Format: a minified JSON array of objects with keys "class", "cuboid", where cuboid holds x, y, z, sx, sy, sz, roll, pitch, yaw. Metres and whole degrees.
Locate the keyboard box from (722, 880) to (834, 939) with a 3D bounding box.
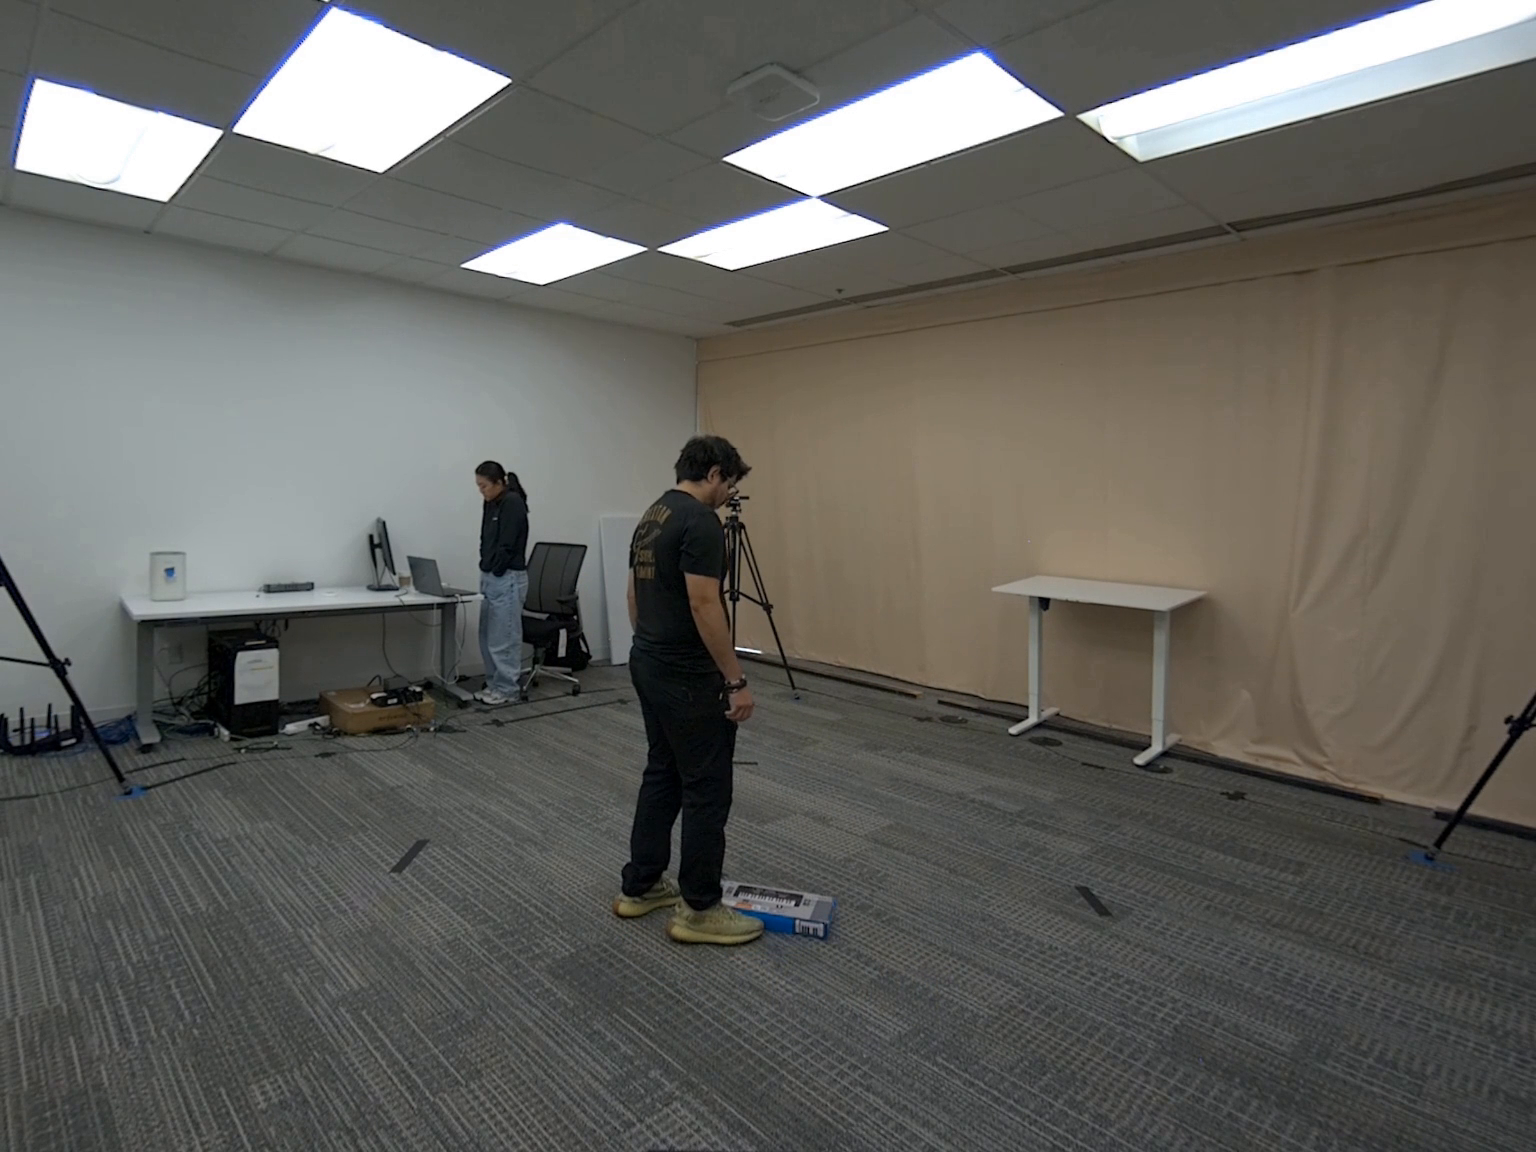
[{"class":"keyboard box","cuboid":[-0.014,1.107,2.794,0.443,0.059,0.174,3,6,16]}]
